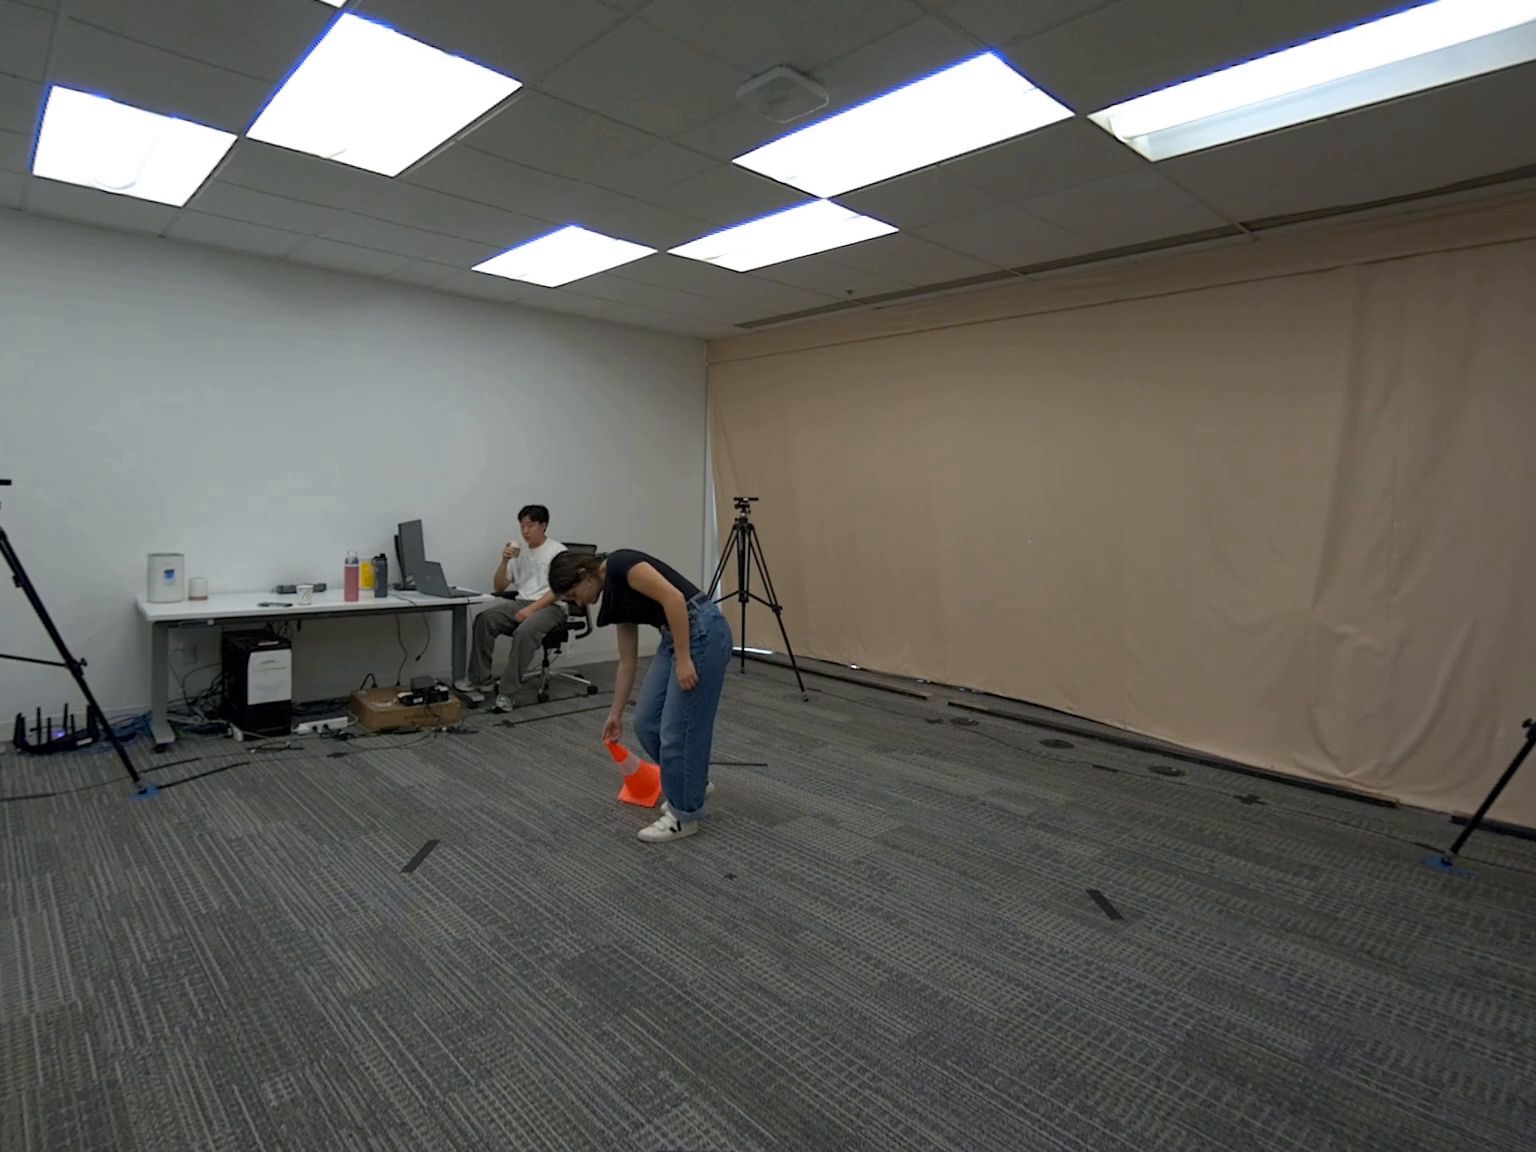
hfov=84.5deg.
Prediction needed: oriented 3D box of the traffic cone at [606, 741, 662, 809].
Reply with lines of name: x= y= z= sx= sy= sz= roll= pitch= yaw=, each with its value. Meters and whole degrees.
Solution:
traffic cone: x=-0.635 y=0.840 z=3.745 sx=0.208 sy=0.372 sz=0.206 roll=6 pitch=49 yaw=29
